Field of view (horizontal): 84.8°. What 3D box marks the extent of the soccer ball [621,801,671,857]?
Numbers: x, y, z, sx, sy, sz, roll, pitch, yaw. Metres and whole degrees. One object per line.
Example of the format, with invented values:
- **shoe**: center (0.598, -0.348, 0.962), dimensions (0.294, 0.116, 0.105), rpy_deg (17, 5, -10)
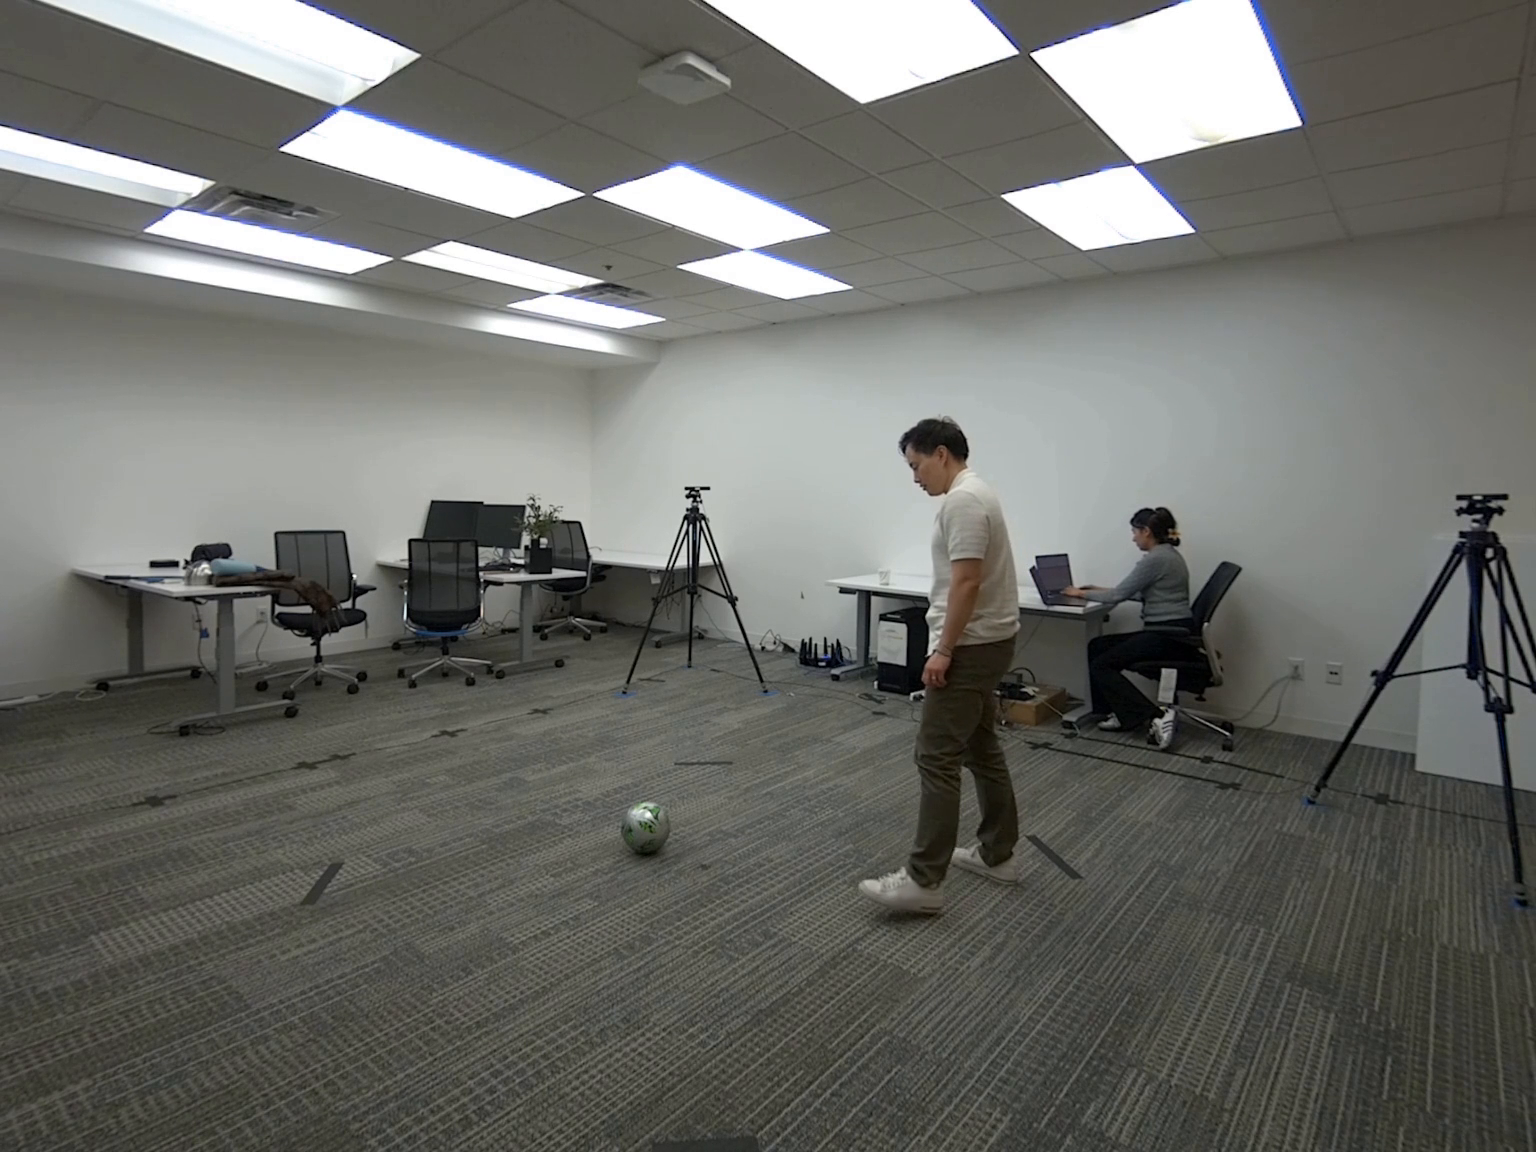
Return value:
- **soccer ball**: center (-0.476, 0.949, 3.238), dimensions (0.187, 0.187, 0.188), rpy_deg (1, 4, -2)
